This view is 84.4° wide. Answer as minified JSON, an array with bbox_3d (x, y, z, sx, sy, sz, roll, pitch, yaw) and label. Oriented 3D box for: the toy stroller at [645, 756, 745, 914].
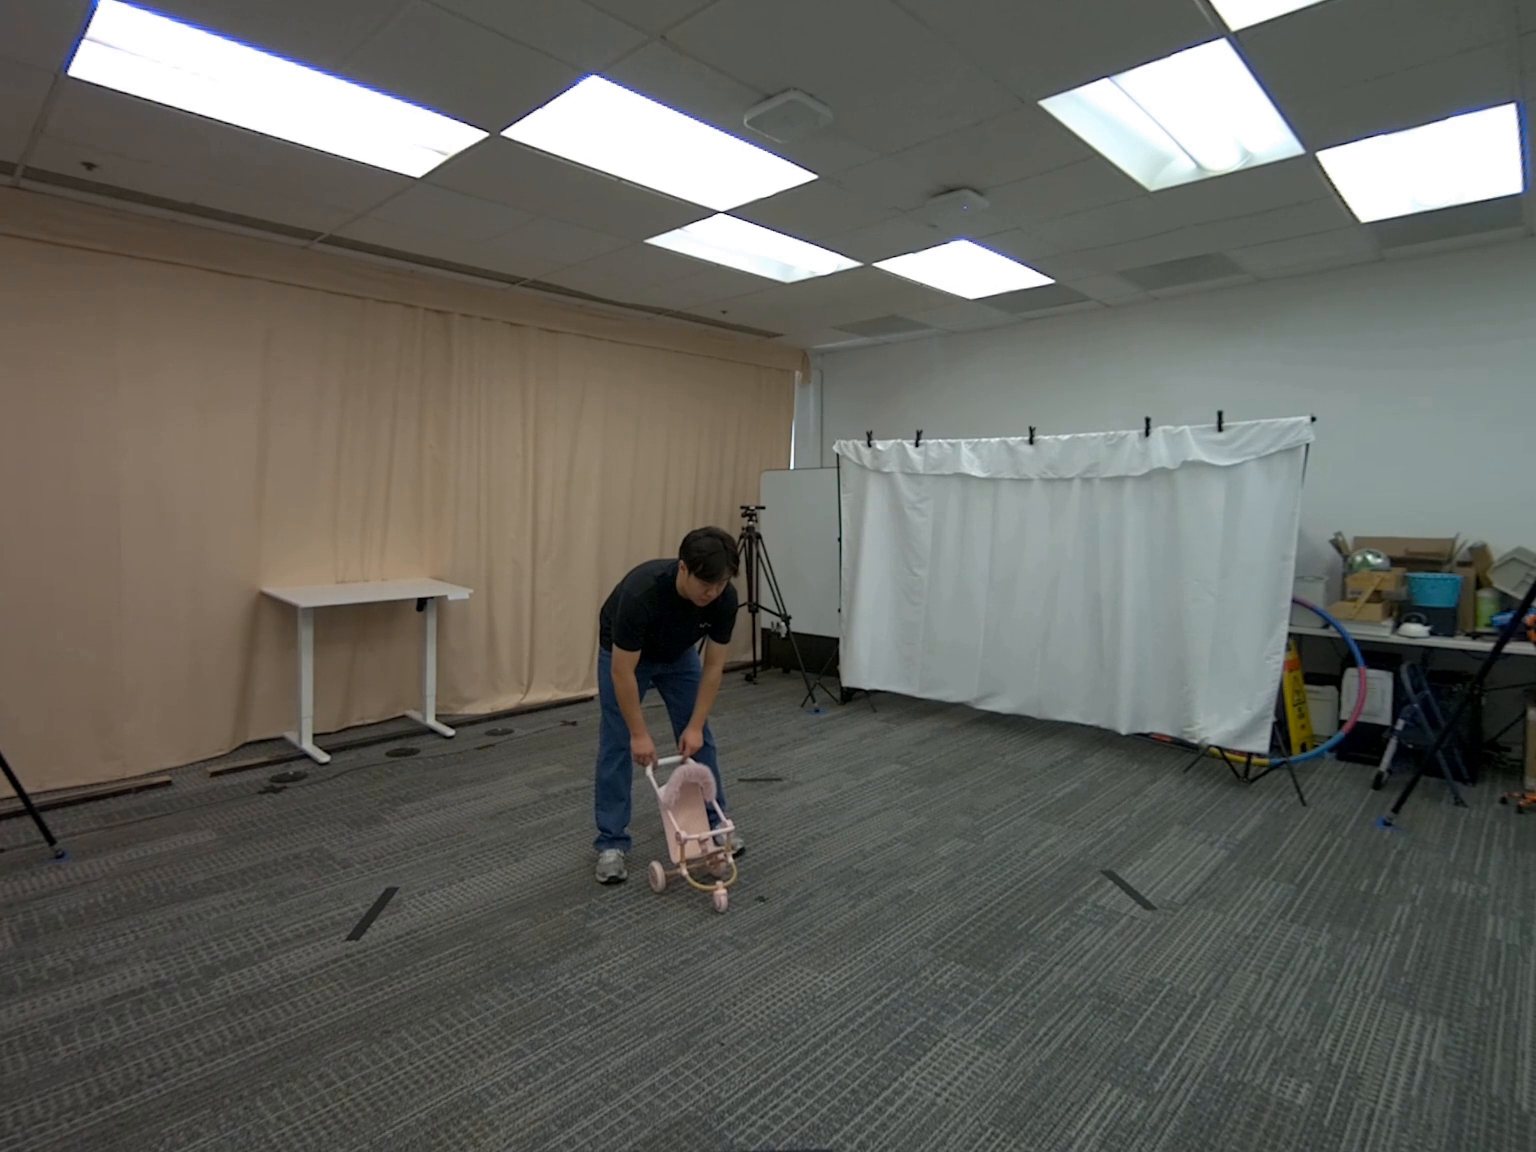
[{"bbox_3d":[-0.263,0.917,3.040,0.274,0.540,0.347,-2,-12,-27],"label":"toy stroller"}]
